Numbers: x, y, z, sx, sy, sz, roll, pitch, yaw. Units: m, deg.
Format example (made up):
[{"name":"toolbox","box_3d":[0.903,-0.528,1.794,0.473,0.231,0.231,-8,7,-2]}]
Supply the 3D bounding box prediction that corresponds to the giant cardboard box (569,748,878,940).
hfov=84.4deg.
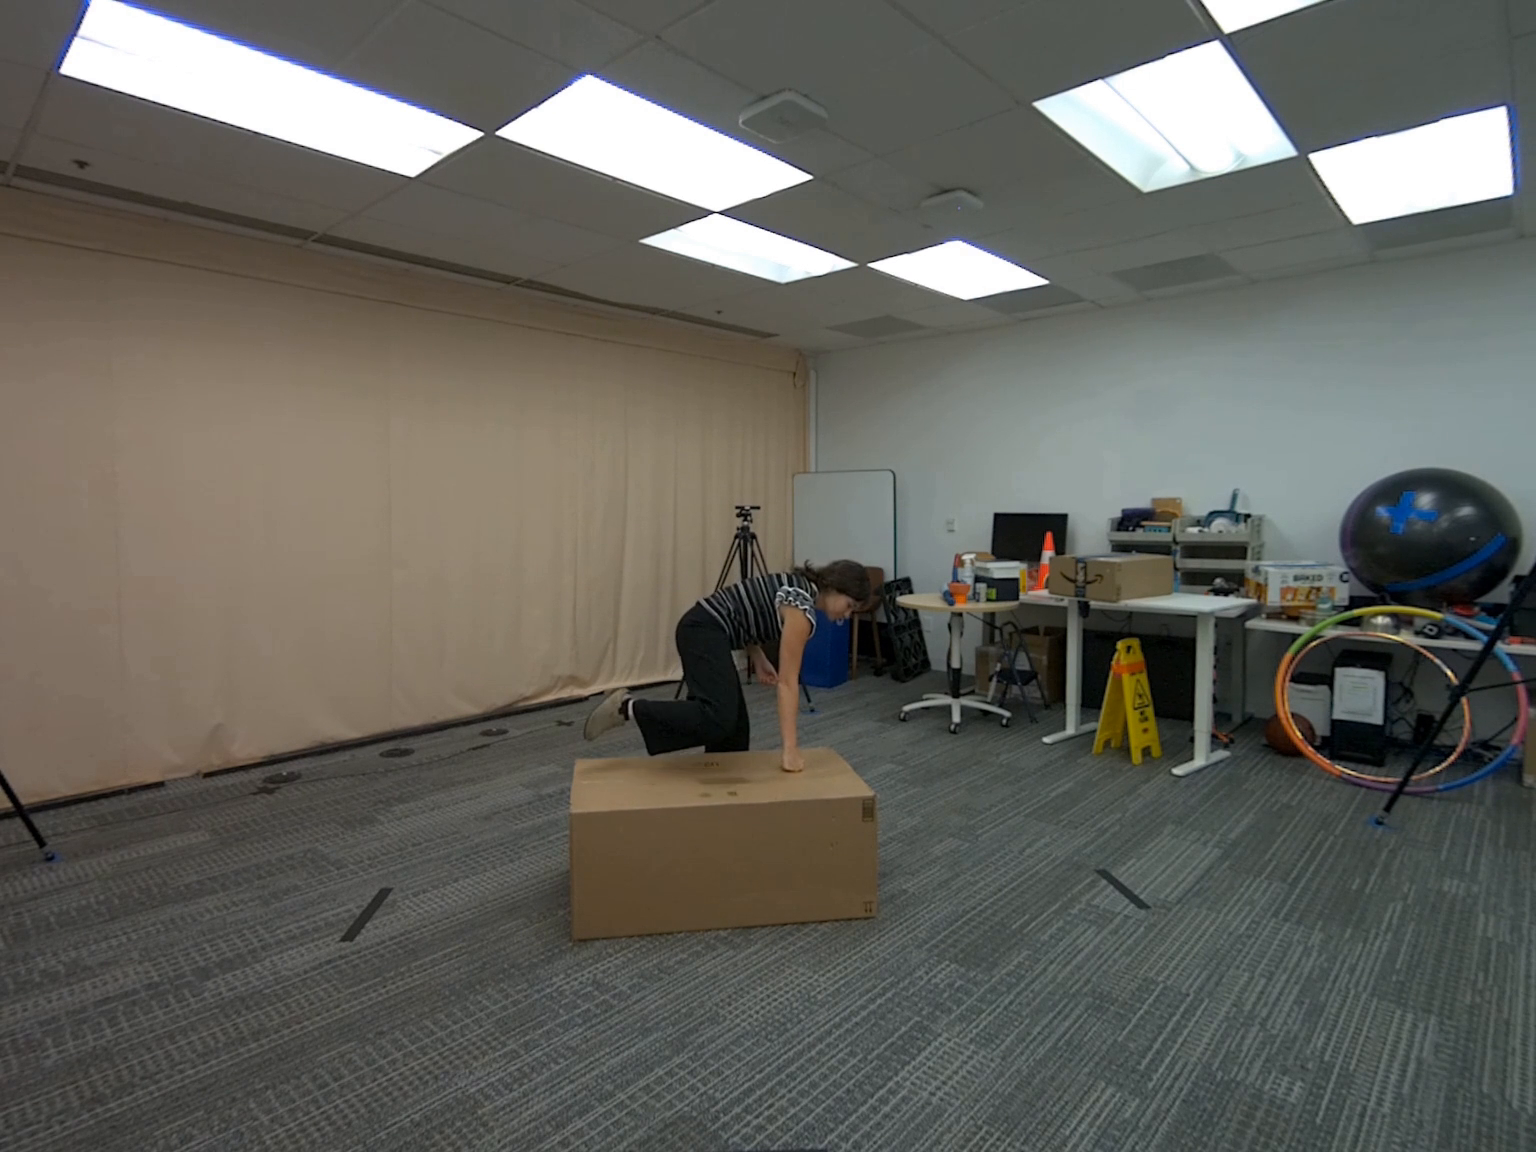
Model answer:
[{"name":"giant cardboard box","box_3d":[-0.188,0.930,3.041,1.016,0.425,0.584,-1,4,-9]}]
